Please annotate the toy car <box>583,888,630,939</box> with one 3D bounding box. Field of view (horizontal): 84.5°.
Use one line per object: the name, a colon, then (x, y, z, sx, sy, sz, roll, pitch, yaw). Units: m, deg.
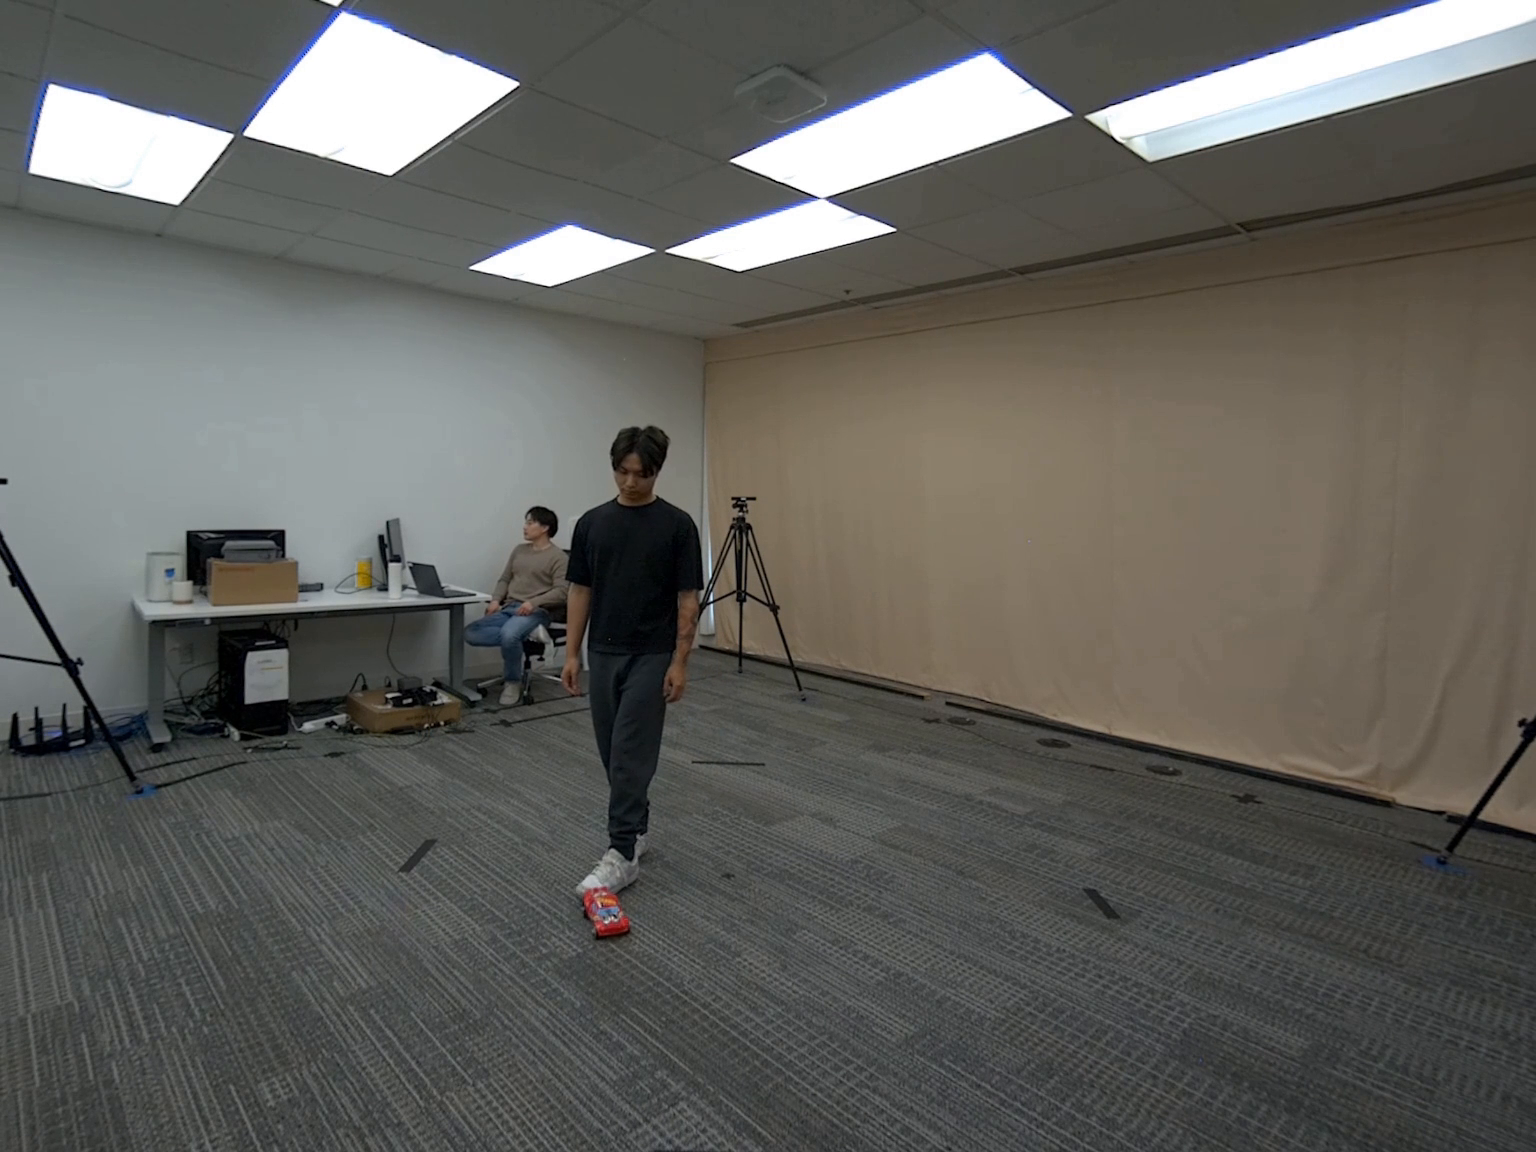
toy car: (-0.544, 1.101, 2.740, 0.128, 0.082, 0.261, -1, 16, -23)
